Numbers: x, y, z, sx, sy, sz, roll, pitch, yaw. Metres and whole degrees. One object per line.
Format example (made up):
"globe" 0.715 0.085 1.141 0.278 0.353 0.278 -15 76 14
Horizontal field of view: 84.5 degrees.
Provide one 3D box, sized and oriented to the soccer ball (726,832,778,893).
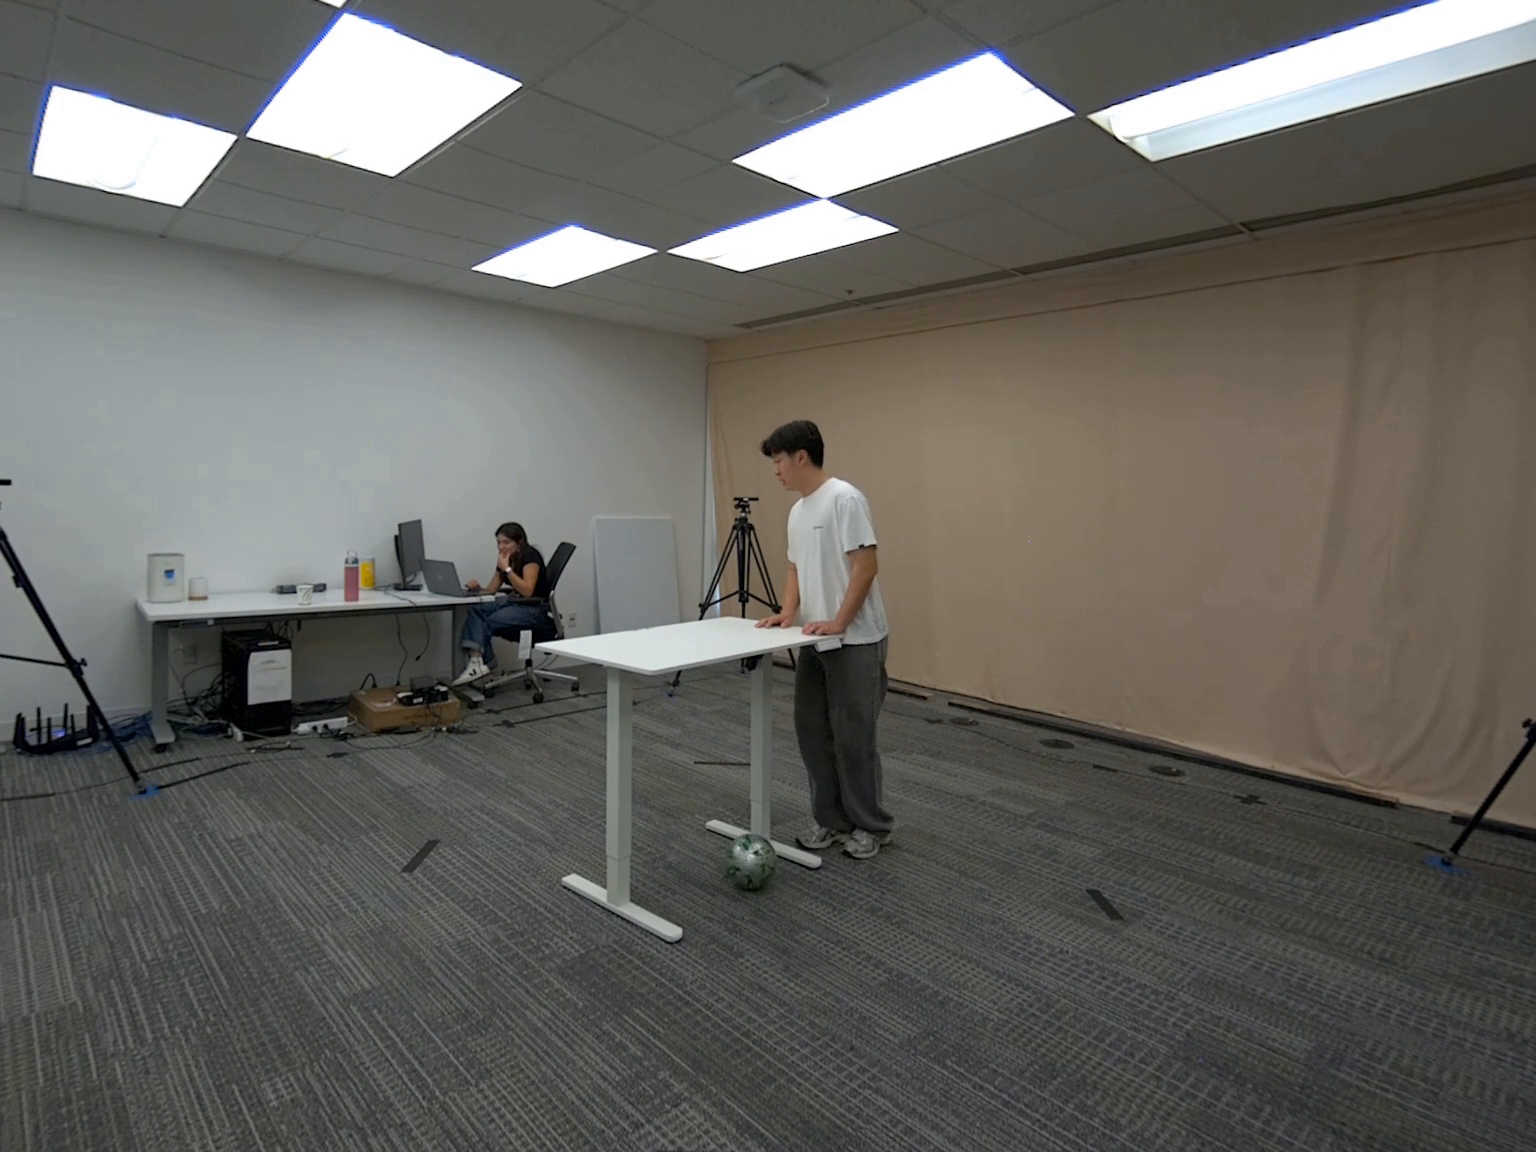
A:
"soccer ball" -0.068 1.028 3.011 0.187 0.187 0.188 1 4 -1
